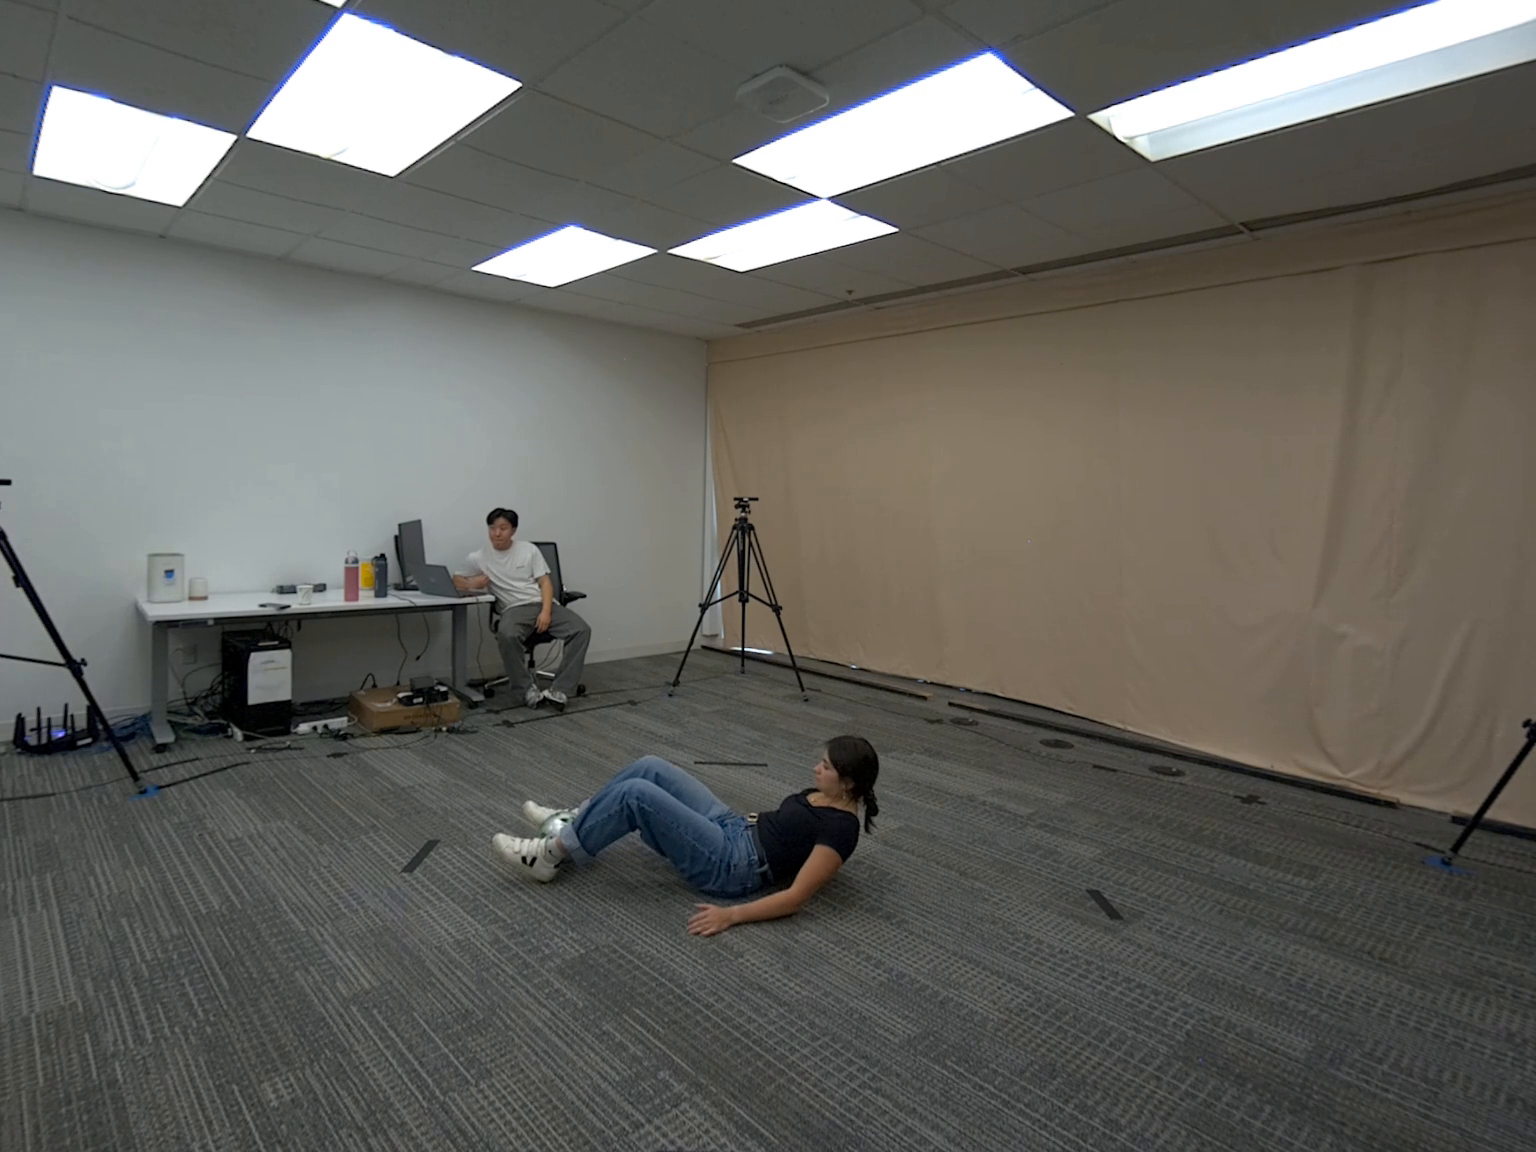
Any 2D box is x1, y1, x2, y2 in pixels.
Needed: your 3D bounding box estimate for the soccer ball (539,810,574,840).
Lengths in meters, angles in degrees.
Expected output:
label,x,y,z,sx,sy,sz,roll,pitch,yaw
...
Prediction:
label,x,y,z,sx,sy,sz,roll,pitch,yaw
soccer ball,-0.757,0.964,3.127,0.187,0.186,0.188,1,7,-1
